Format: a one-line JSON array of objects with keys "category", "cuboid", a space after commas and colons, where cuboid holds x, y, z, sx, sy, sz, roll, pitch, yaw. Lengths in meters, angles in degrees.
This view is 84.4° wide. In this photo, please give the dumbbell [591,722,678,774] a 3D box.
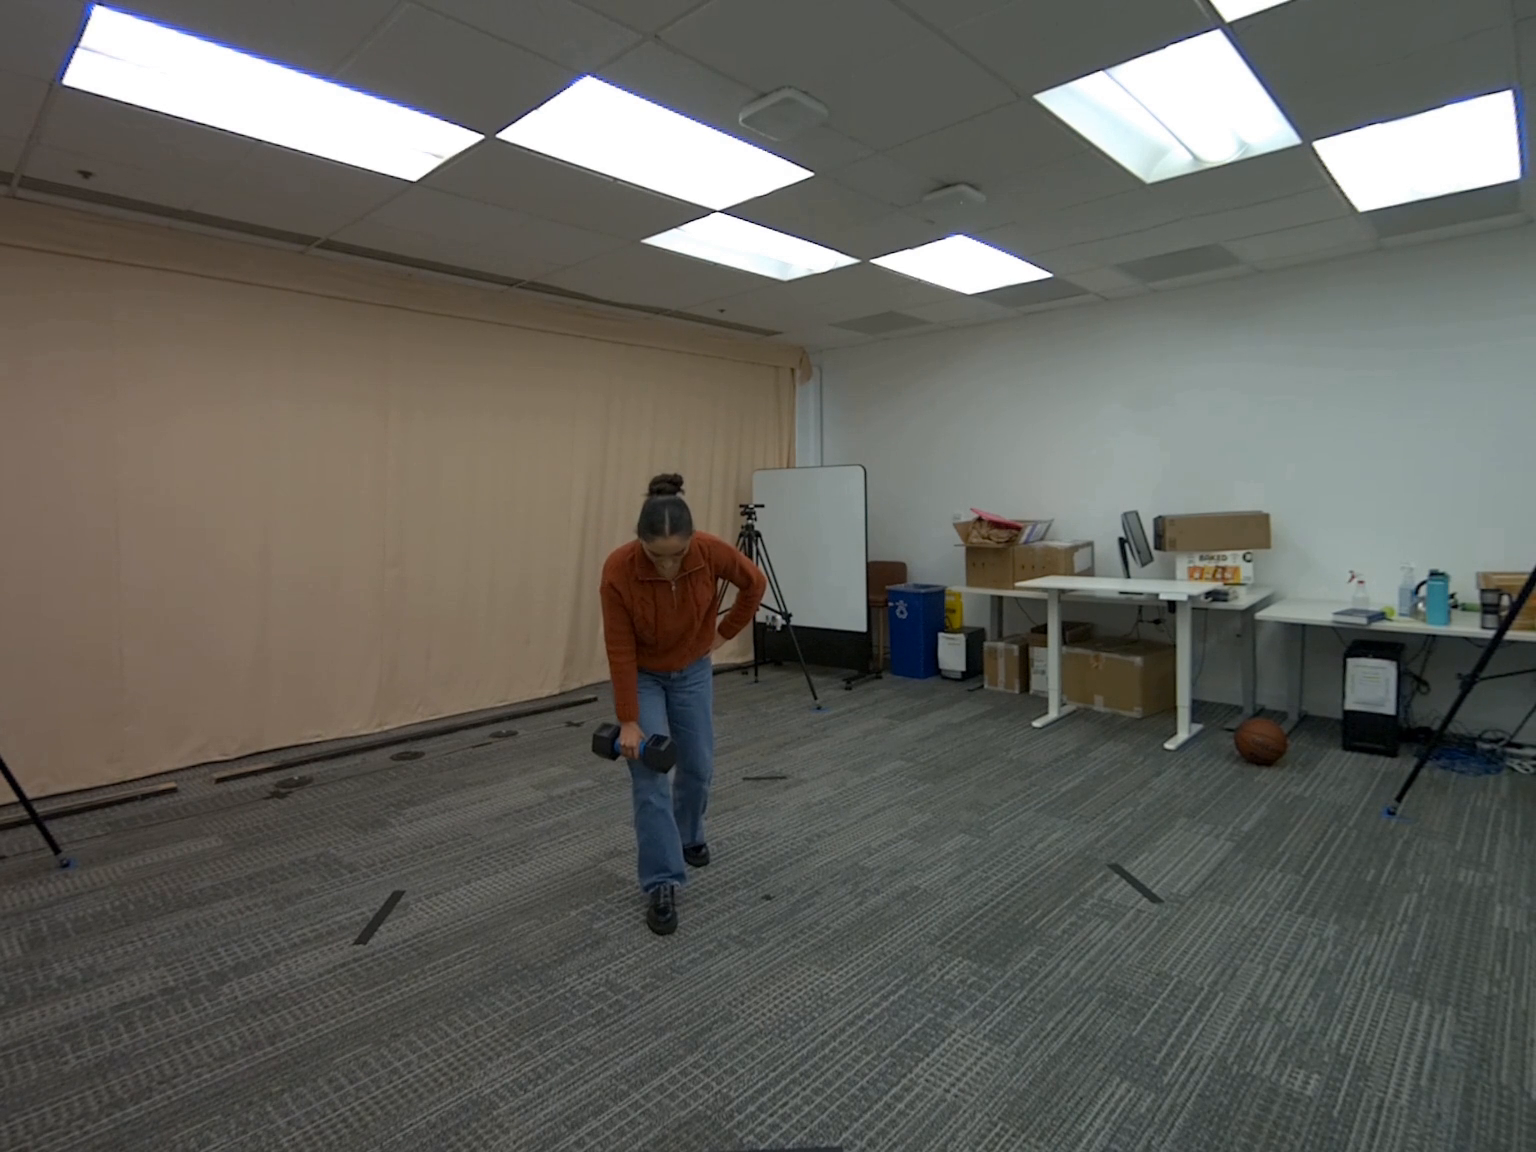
[{"category": "dumbbell", "cuboid": [-0.448, 0.576, 2.827, 0.302, 0.123, 0.105, 6, 1, 31]}]
